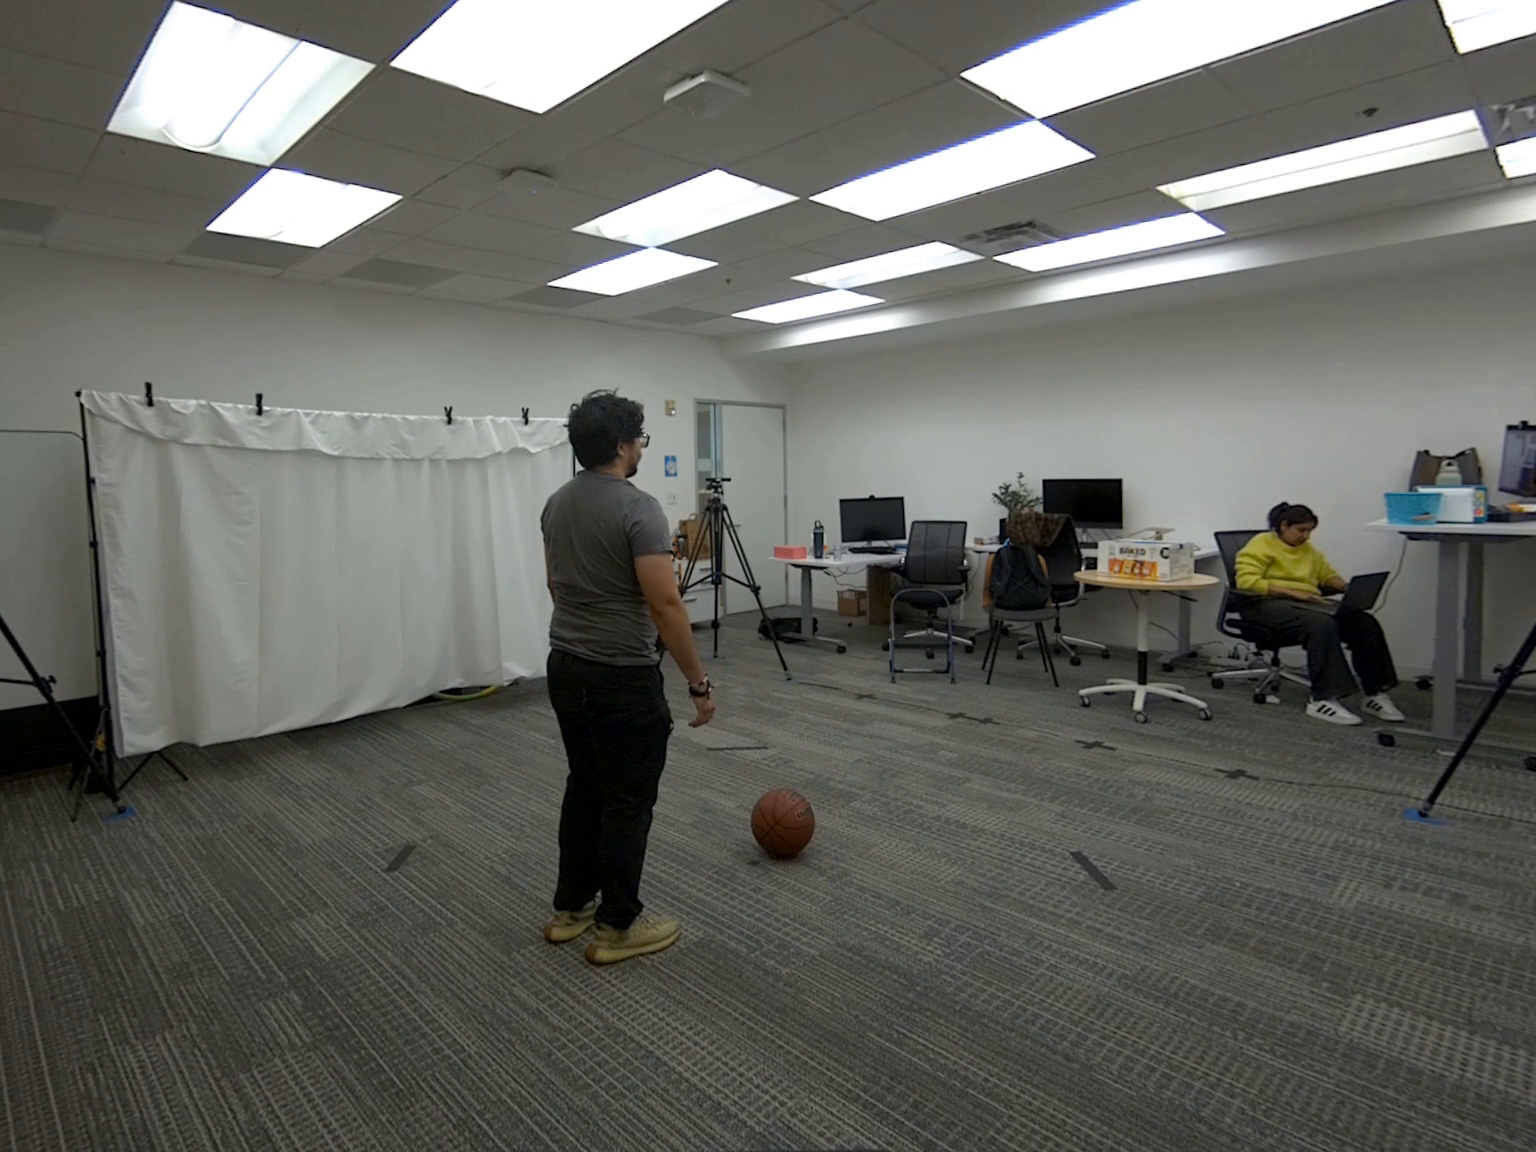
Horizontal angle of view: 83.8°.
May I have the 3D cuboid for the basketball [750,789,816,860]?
[{"bbox_3d":[0.055,0.910,3.179,0.236,0.235,0.237,-1,5,-2],"label":"basketball"}]
